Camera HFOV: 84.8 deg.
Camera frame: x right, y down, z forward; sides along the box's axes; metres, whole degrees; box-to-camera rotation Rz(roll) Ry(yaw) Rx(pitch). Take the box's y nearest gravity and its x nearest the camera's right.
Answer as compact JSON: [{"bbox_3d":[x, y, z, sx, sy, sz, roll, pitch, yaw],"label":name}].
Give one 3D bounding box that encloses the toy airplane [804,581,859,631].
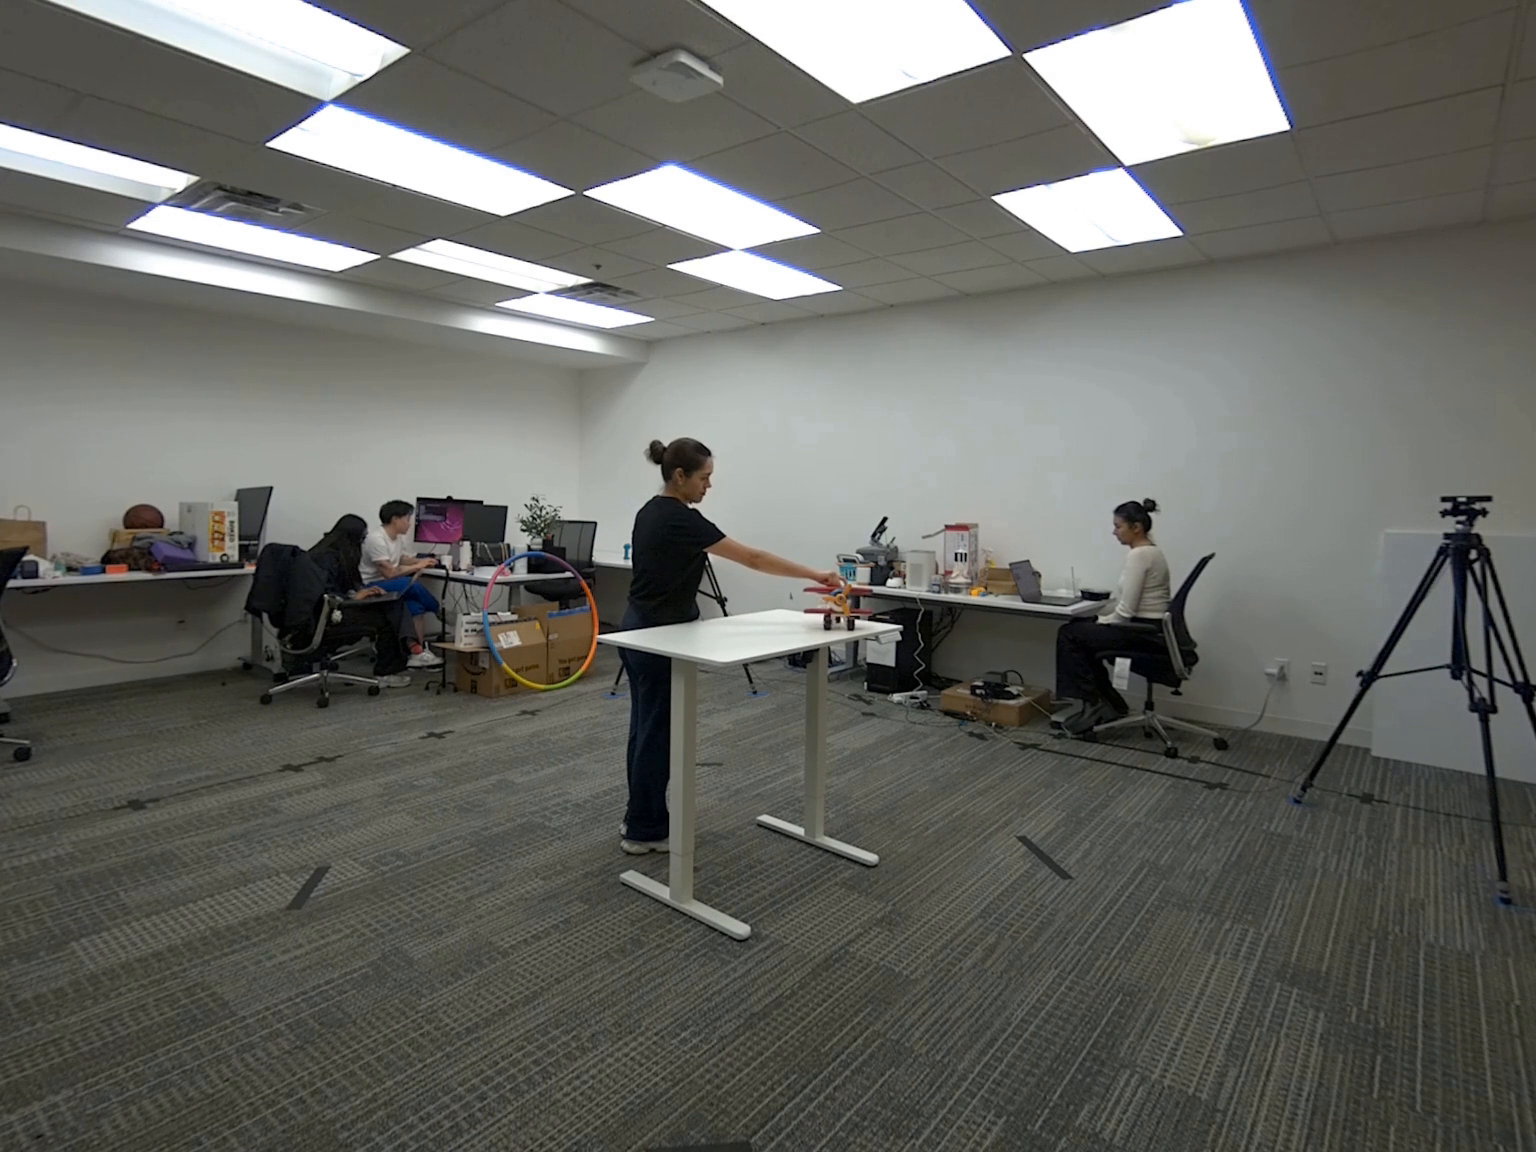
[{"bbox_3d":[0.246,0.106,3.181,0.244,0.156,0.267,-2,7,-30],"label":"toy airplane"}]
